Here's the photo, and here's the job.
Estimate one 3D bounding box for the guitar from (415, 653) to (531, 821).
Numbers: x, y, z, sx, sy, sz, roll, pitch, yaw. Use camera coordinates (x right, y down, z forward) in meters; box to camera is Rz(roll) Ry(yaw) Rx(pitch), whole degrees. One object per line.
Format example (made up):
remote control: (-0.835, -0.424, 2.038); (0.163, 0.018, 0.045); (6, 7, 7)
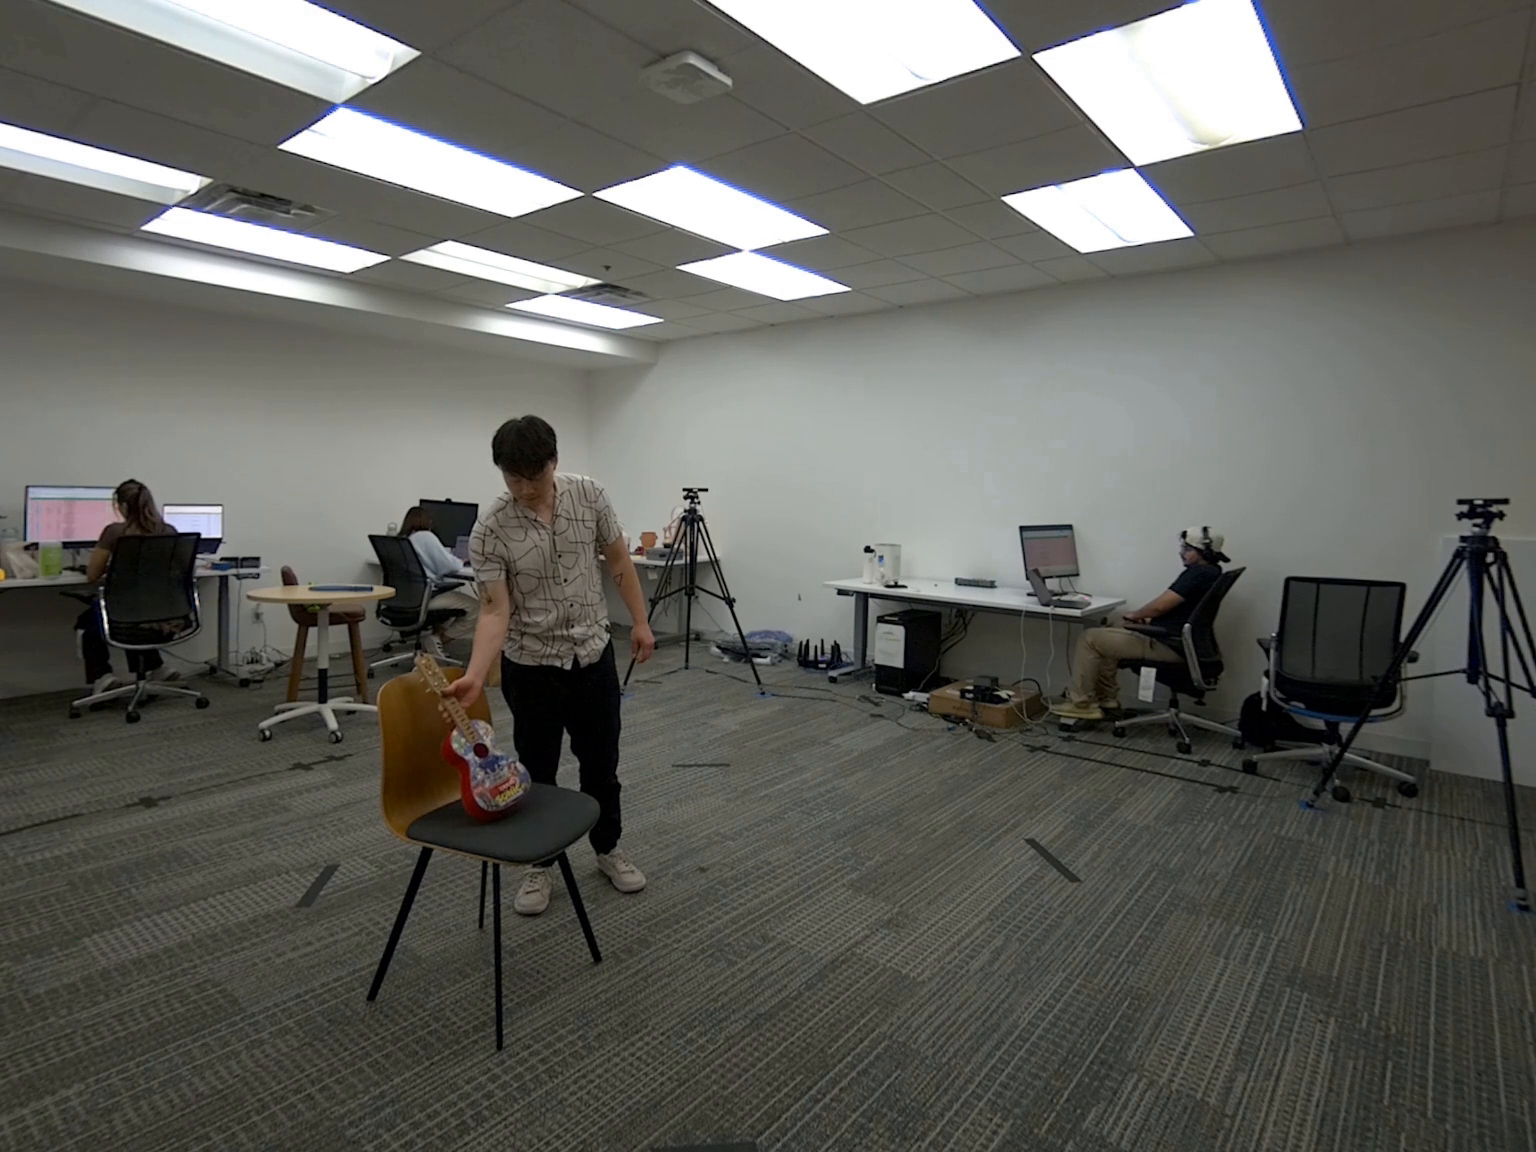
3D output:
guitar: (-0.853, 0.437, 2.409); (0.071, 0.510, 0.188); (-42, -20, 31)
